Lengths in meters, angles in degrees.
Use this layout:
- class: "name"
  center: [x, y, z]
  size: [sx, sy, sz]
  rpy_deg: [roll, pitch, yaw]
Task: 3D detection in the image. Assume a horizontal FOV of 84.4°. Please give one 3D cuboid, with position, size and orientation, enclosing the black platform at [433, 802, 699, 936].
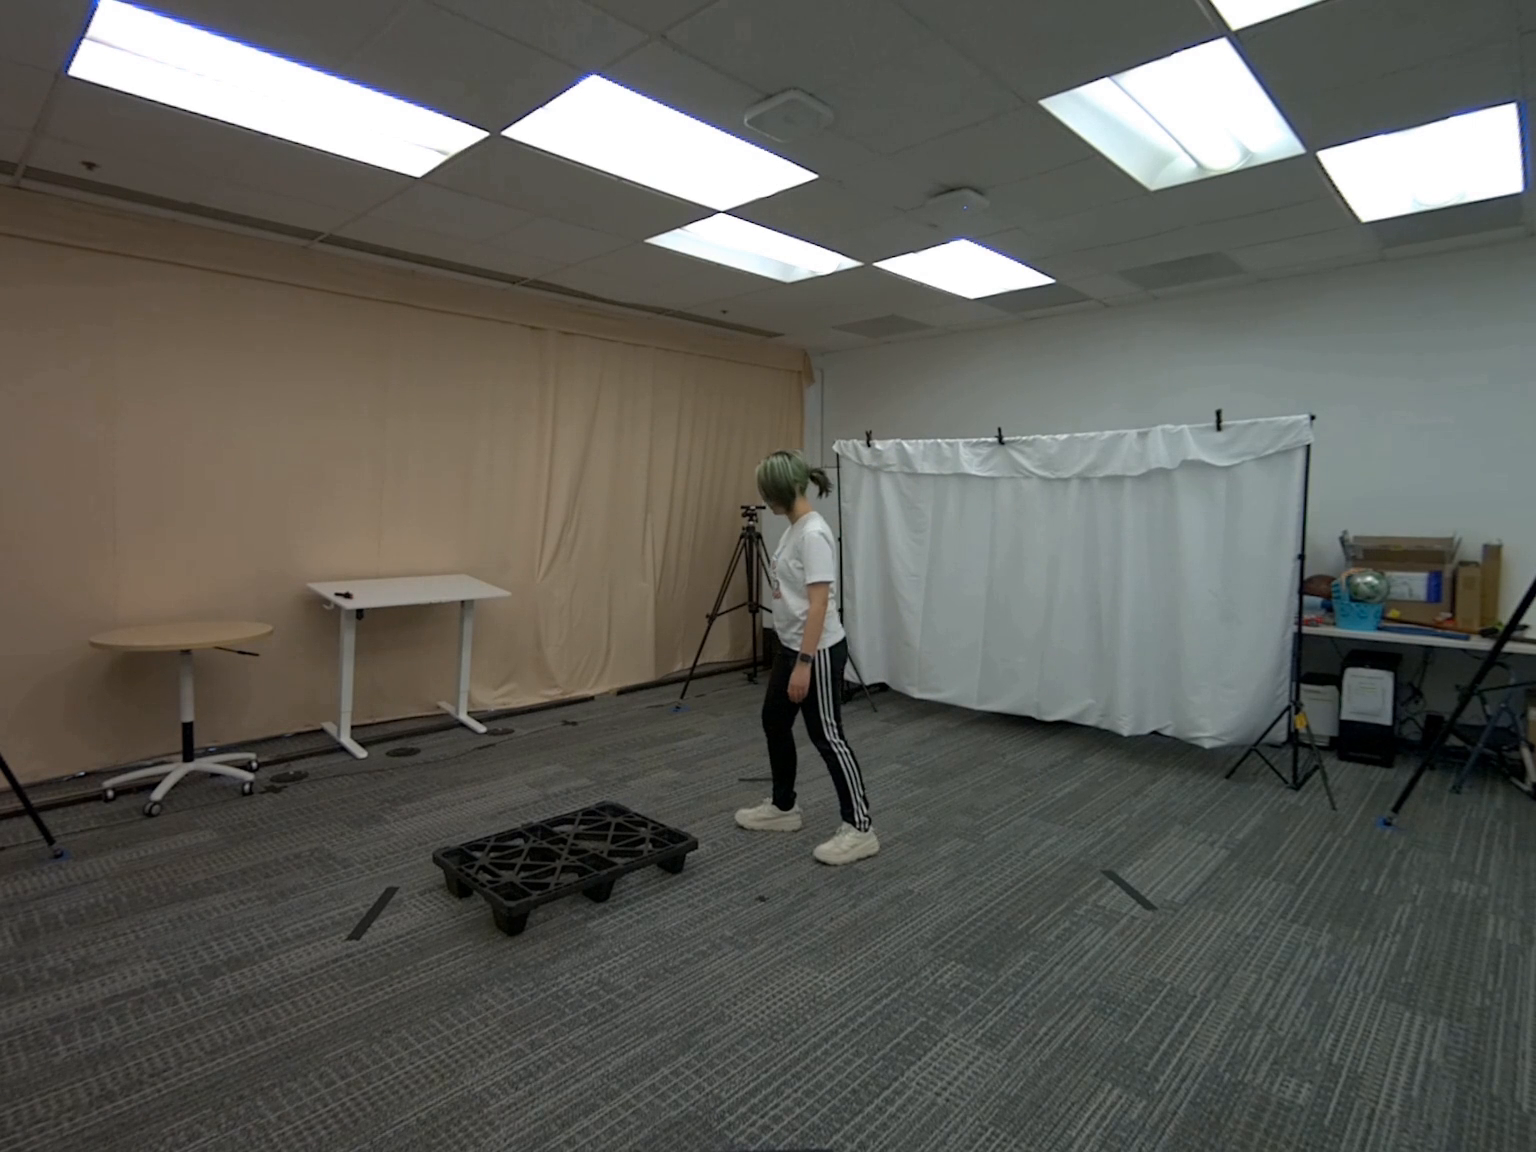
- class: "black platform"
  center: [-0.743, 1.072, 3.138]
  size: [0.781, 0.143, 0.625]
  rpy_deg: [-5, 7, -43]
